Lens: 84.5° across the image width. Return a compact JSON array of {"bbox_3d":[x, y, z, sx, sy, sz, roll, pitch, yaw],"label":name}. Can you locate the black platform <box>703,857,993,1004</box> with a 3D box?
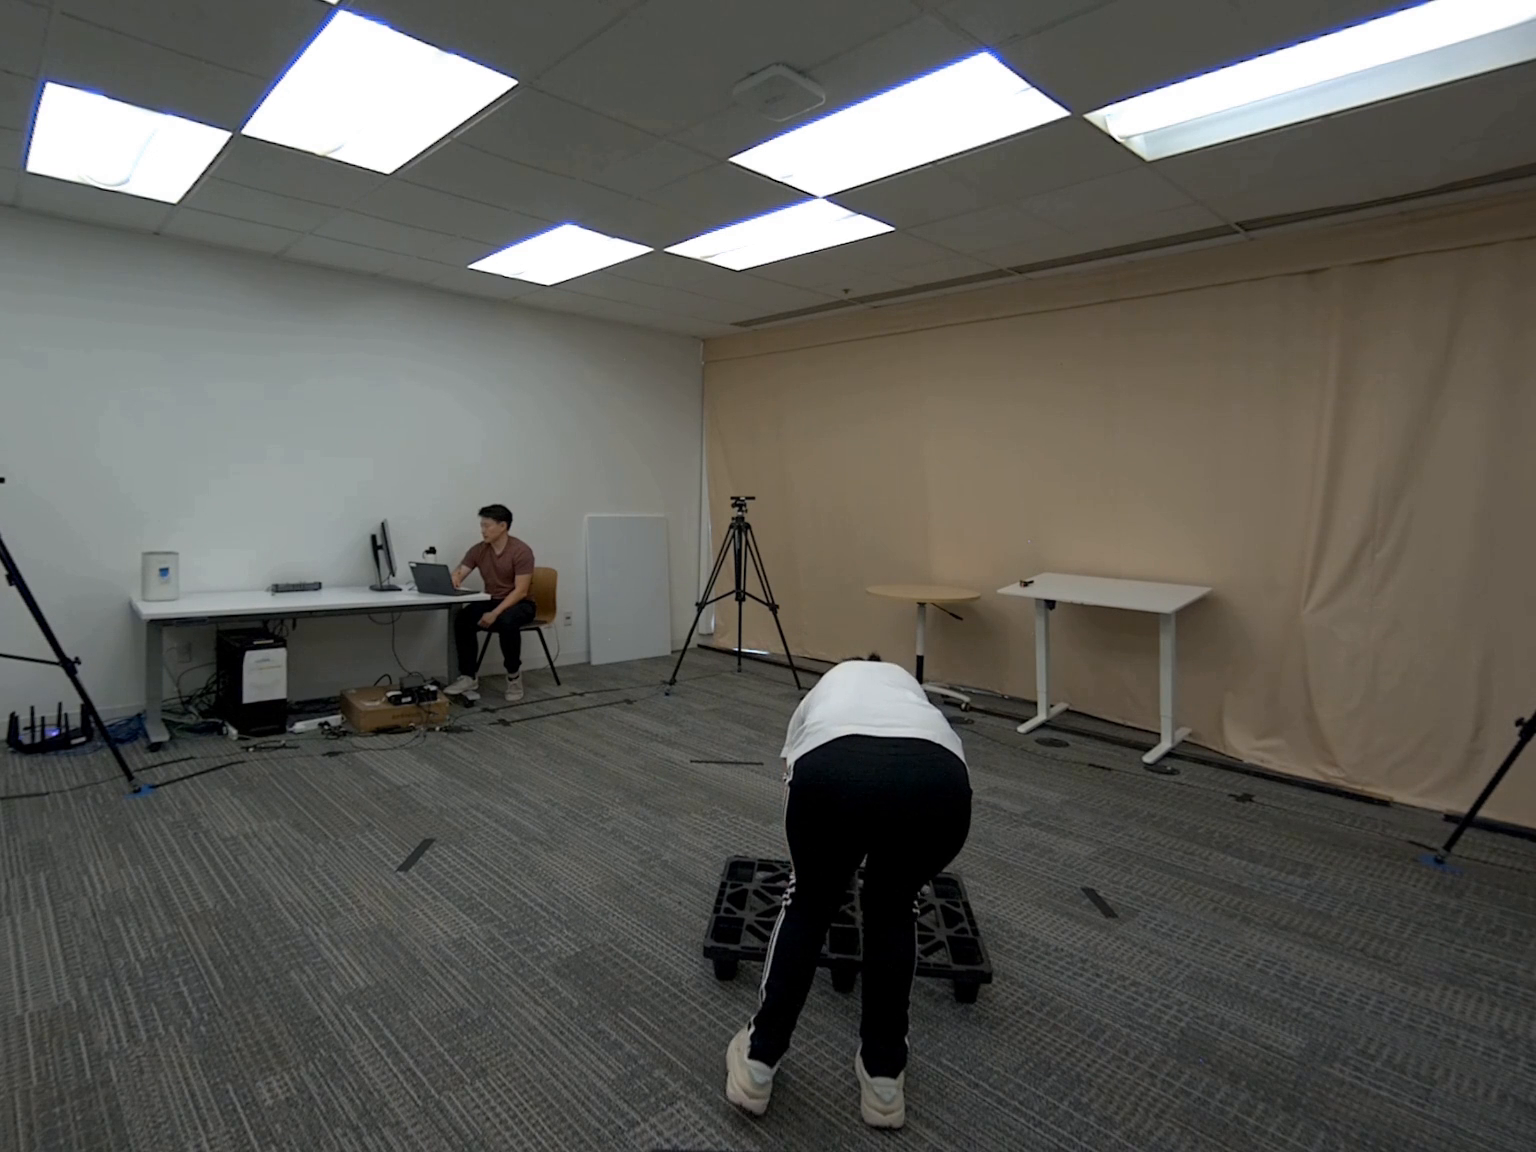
[{"bbox_3d":[0.226,1.092,2.605,0.810,0.143,0.604,2,6,6],"label":"black platform"}]
